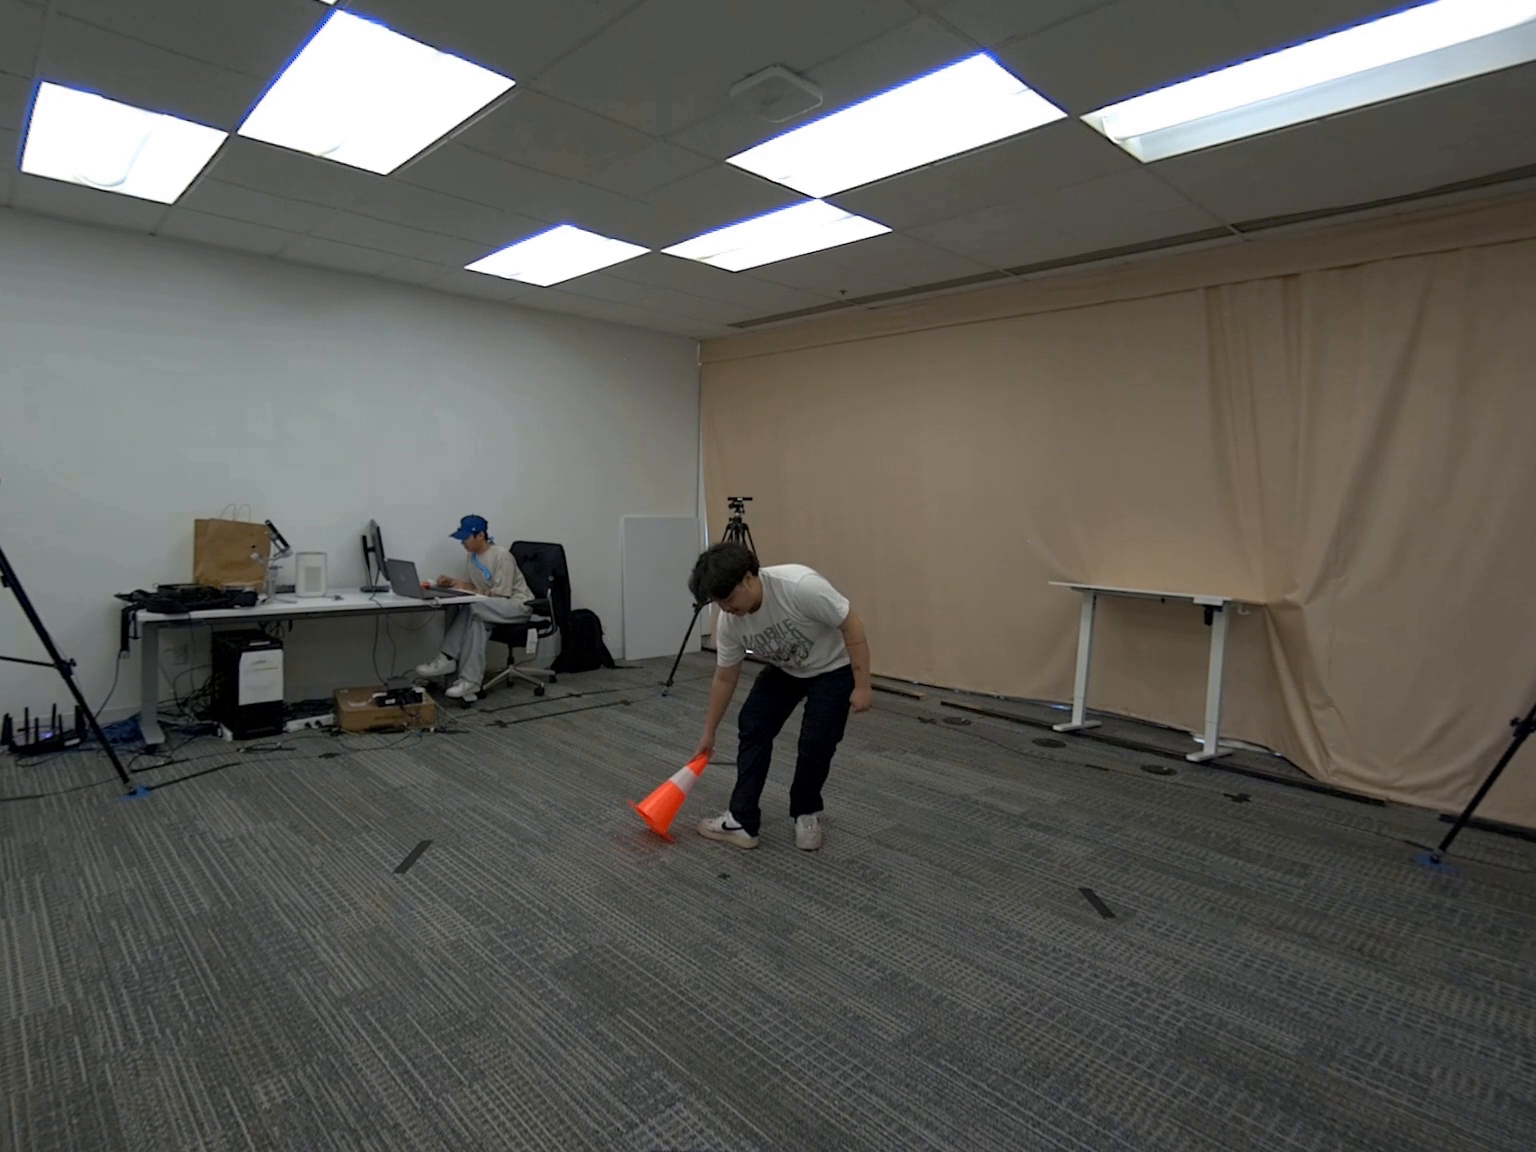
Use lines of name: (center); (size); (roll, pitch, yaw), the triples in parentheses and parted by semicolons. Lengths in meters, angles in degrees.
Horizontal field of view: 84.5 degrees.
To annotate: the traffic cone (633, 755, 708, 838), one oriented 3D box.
traffic cone: (-0.367, 0.867, 3.499); (0.383, 0.198, 0.211); (-47, 34, -19)
